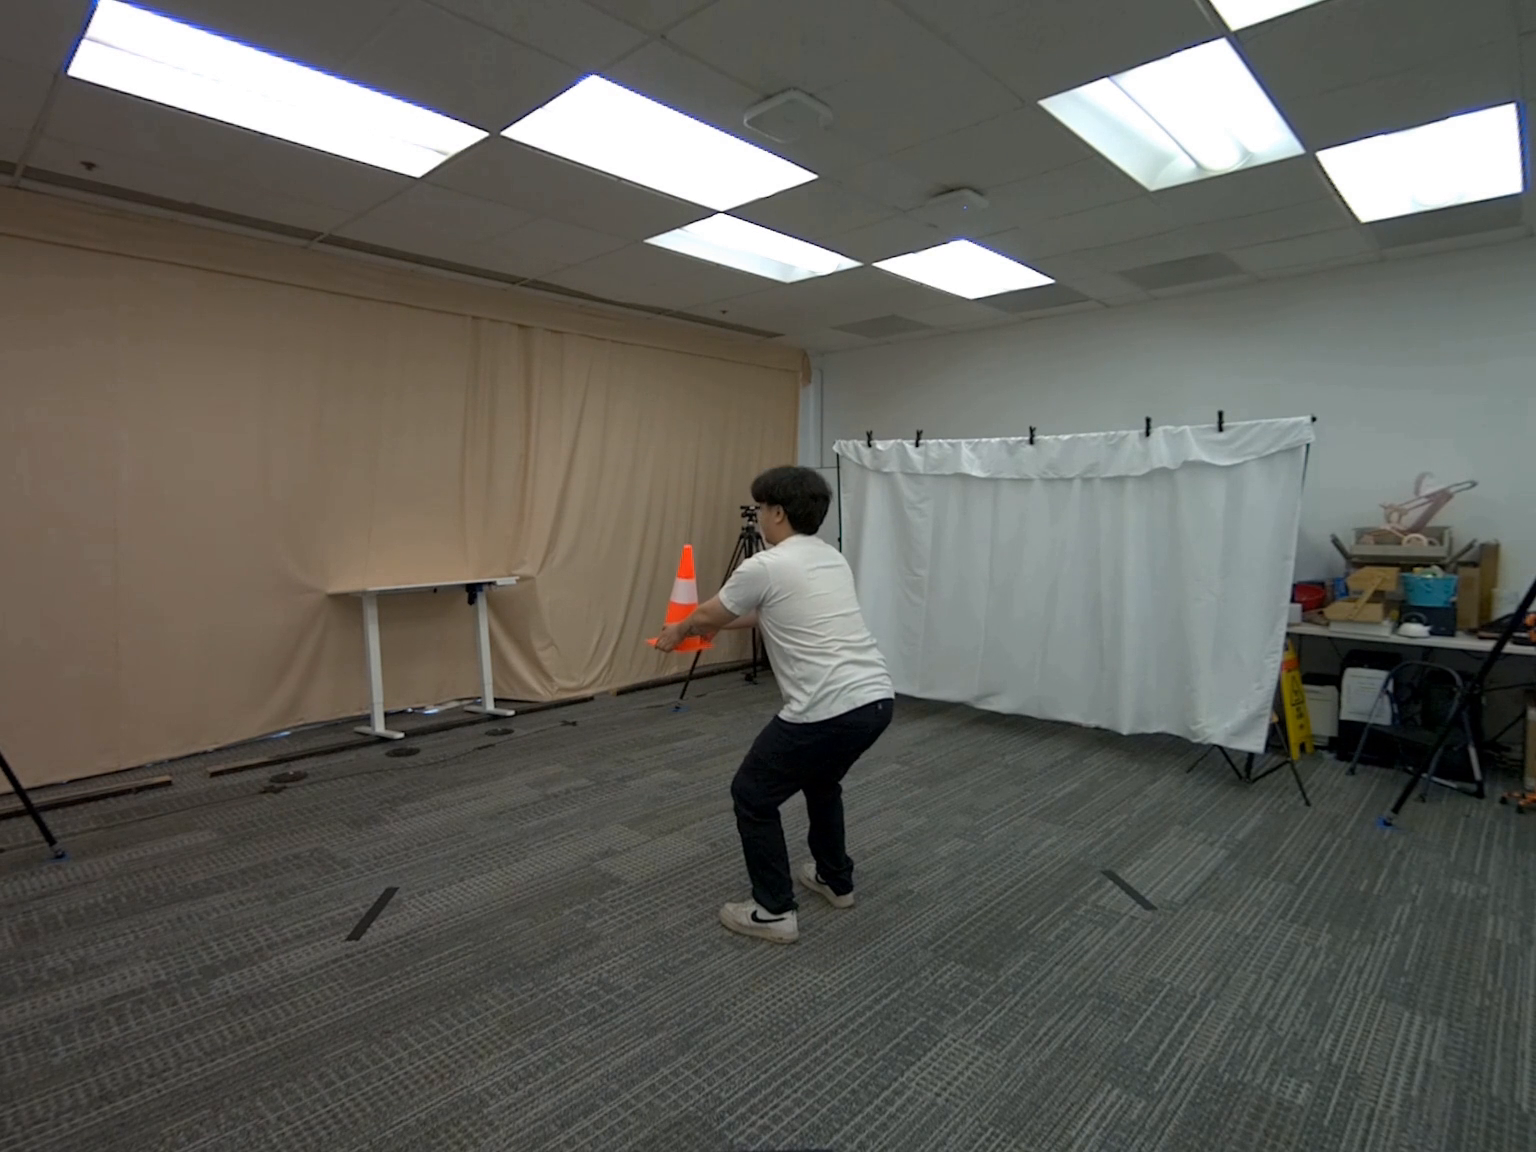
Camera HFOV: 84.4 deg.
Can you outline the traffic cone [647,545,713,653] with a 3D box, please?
[{"bbox_3d":[-0.322,0.076,3.199,0.209,0.382,0.200,9,9,24],"label":"traffic cone"}]
